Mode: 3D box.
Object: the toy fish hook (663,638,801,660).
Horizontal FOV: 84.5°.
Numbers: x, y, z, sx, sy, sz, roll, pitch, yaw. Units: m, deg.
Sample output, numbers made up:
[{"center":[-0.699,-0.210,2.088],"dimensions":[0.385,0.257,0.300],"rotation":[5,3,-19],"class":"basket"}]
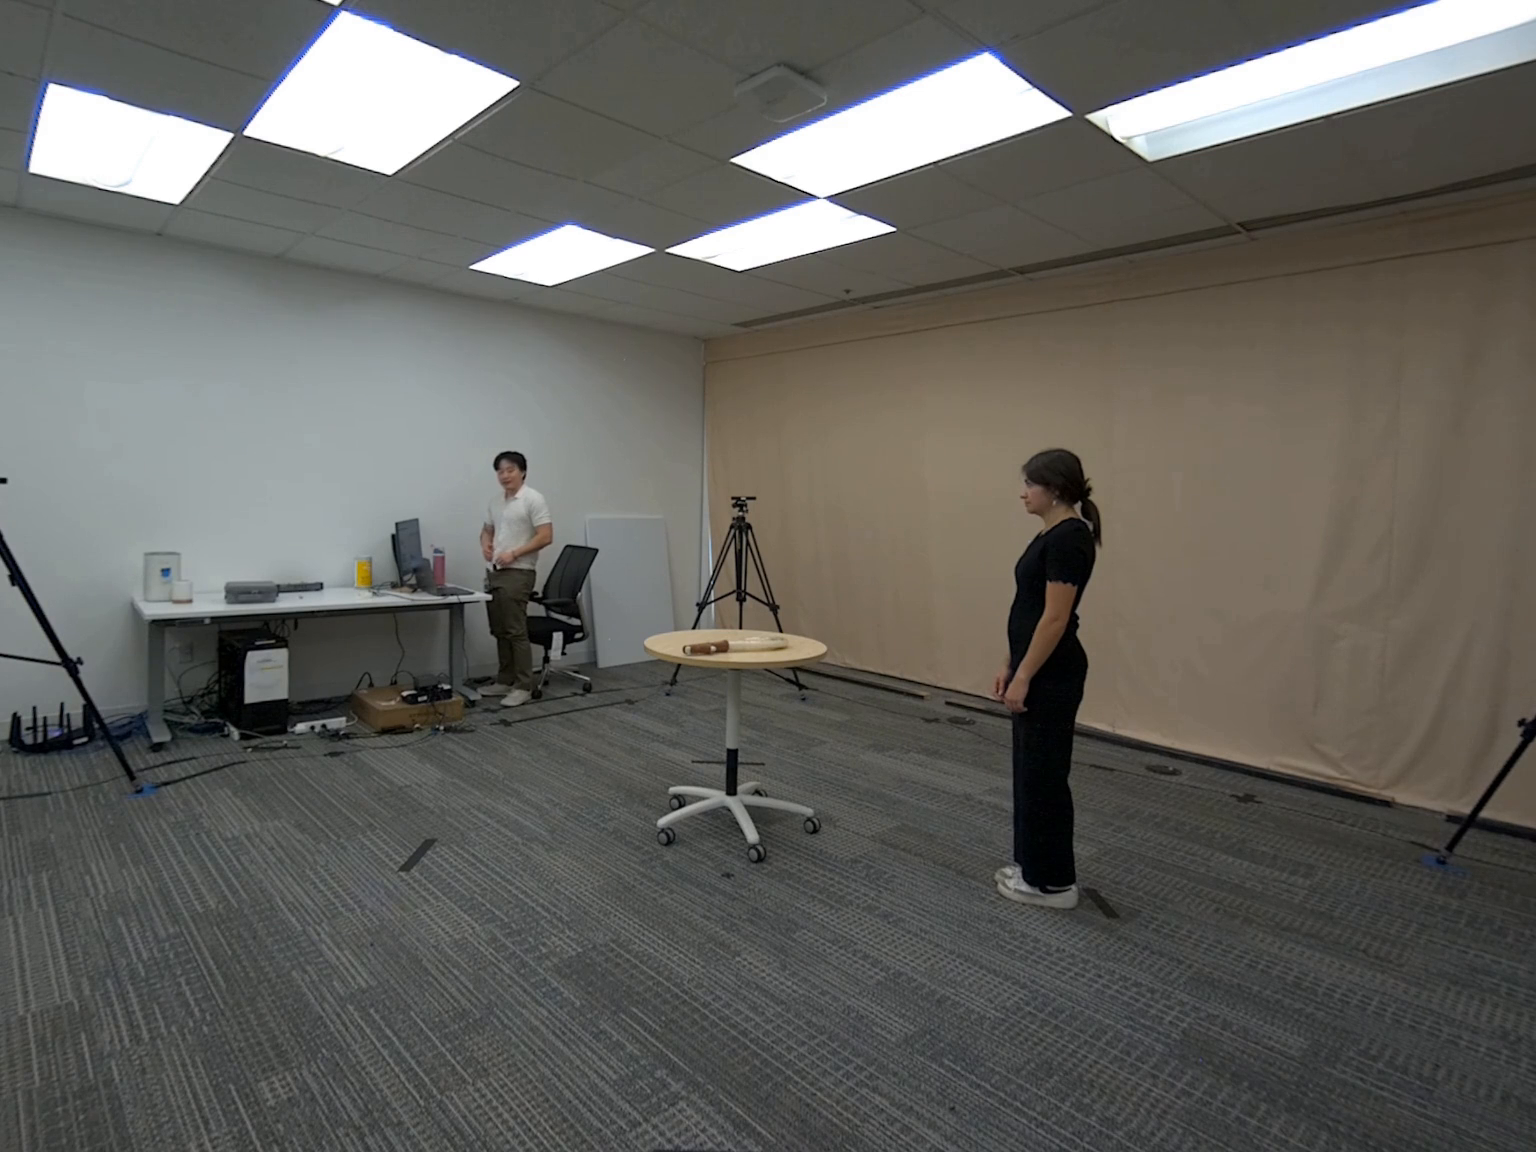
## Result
[{"center":[-0.143,0.289,3.405],"dimensions":[0.496,0.048,0.229],"rotation":[-2,-3,-34],"class":"toy fish hook"}]
